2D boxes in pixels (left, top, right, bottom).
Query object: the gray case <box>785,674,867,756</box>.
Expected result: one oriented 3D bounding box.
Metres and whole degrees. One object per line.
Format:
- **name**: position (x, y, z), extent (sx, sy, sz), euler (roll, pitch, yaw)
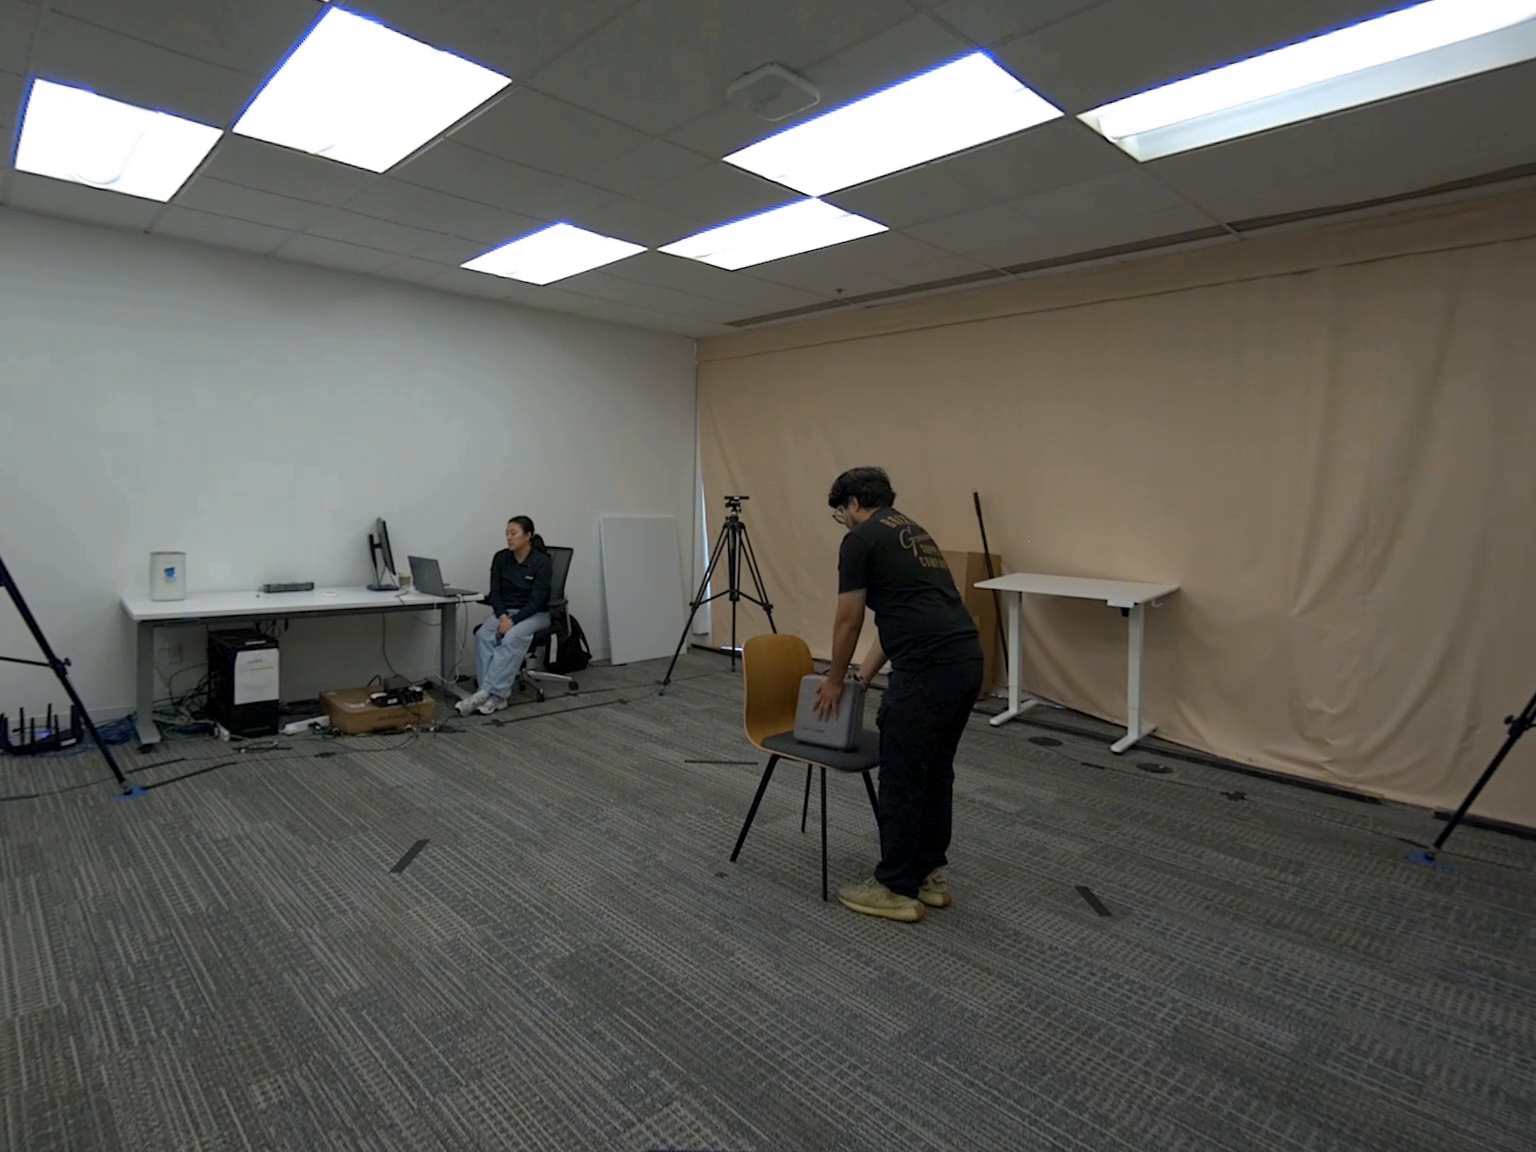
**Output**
- **gray case**: position (0.213, 0.511, 3.149), extent (0.263, 0.263, 0.101), euler (-1, -15, 37)
